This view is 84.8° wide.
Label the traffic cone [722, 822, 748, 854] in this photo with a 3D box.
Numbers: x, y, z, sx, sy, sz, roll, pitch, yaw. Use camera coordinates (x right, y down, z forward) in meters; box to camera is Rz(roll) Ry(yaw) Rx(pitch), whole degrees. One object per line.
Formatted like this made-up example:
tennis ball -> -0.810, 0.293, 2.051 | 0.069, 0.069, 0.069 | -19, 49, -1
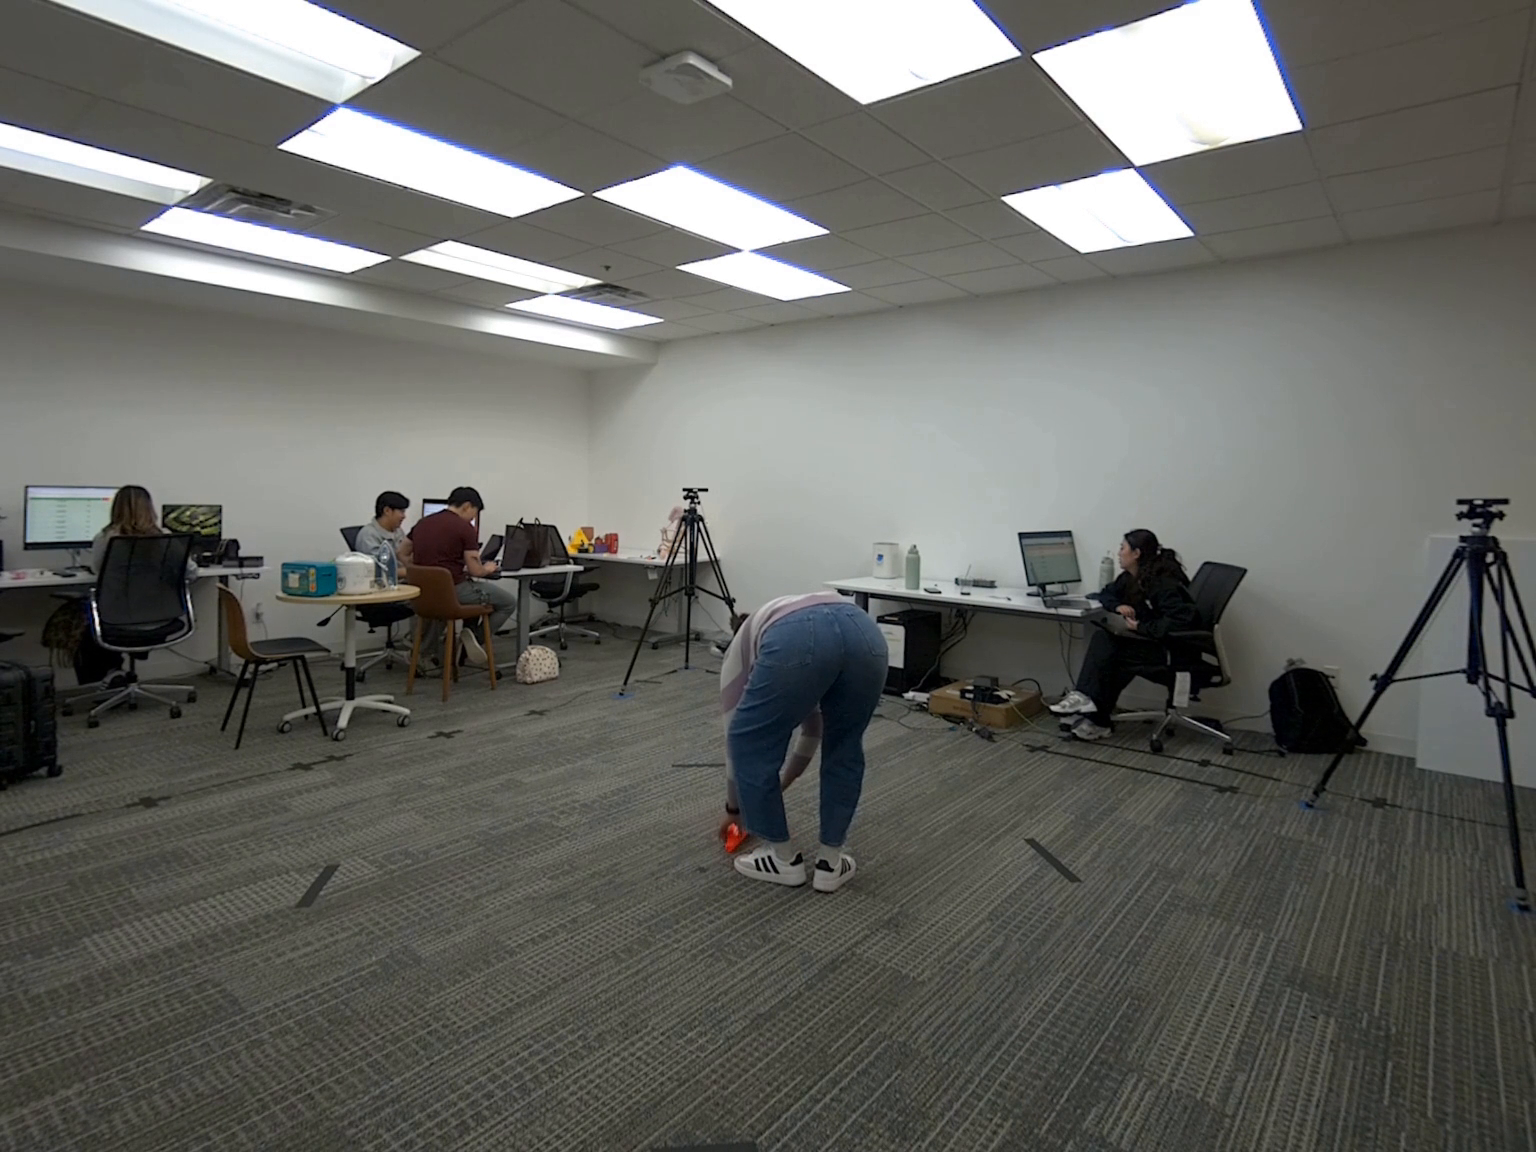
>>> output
traffic cone -> -0.103, 0.978, 3.425 | 0.206, 0.202, 0.384 | -8, 13, 14
